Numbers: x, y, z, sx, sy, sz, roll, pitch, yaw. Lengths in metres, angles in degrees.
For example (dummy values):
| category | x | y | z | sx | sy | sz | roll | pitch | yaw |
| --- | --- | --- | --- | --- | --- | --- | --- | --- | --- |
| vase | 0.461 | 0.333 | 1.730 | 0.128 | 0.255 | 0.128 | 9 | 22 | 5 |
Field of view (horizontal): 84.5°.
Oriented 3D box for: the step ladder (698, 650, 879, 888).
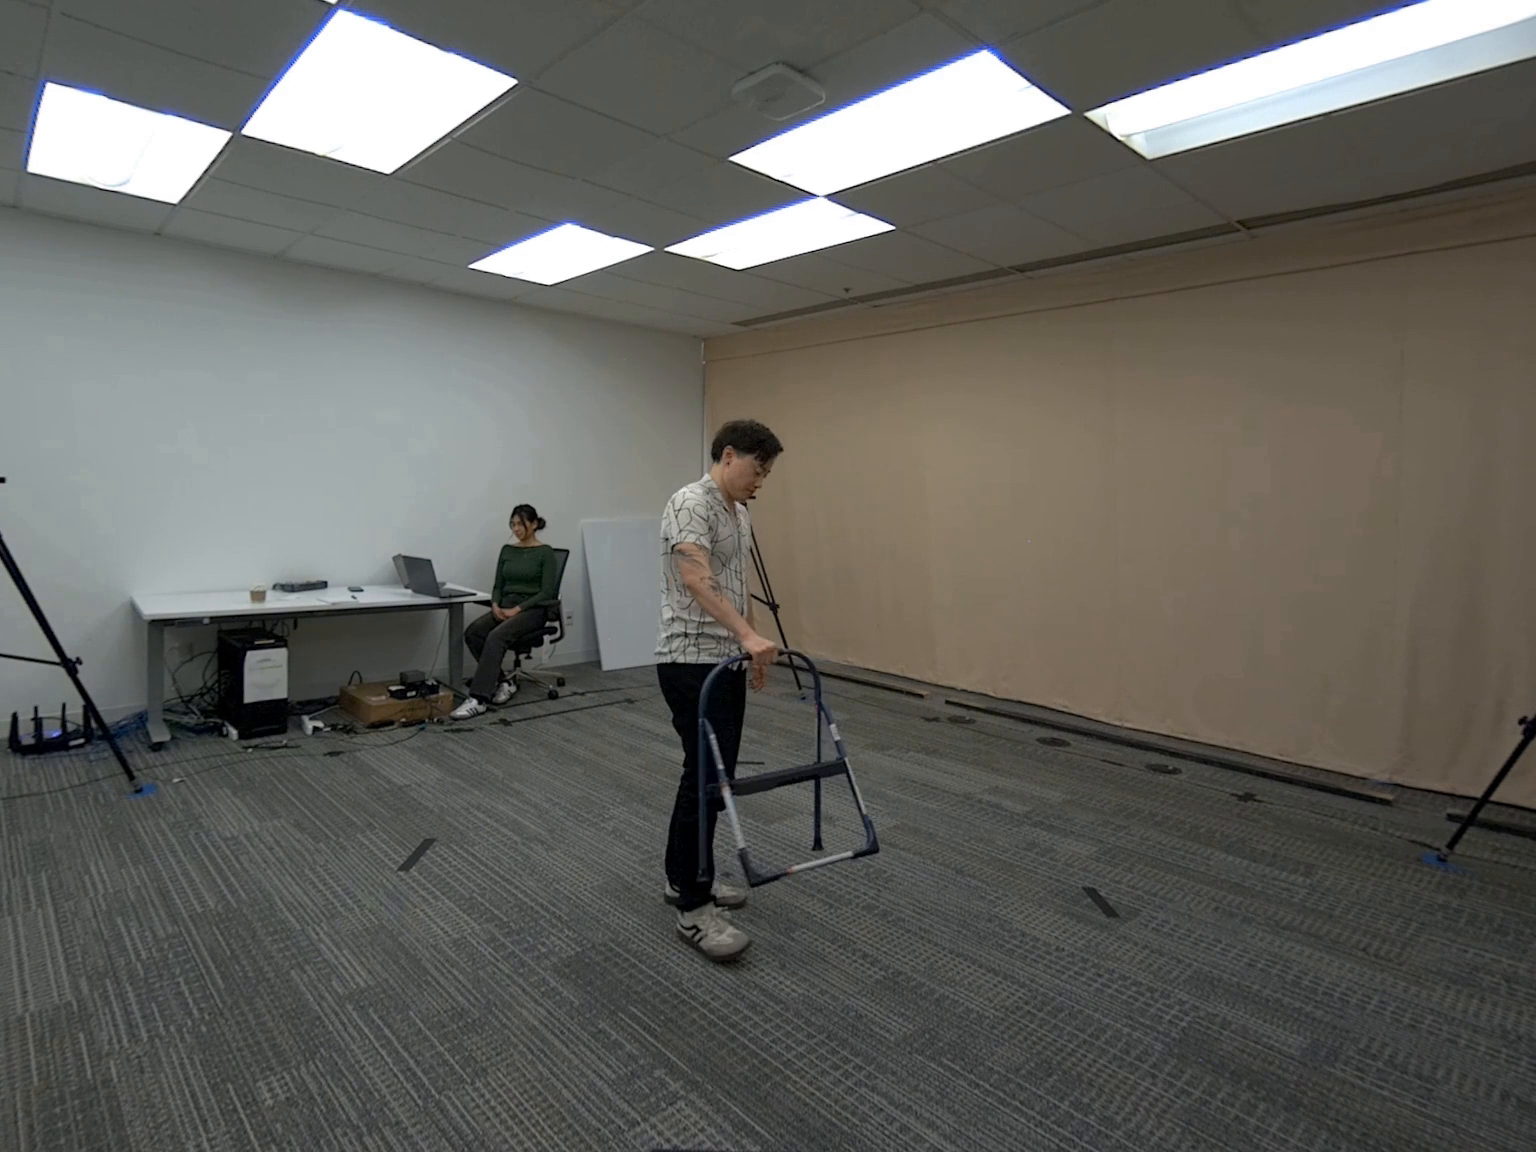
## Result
| category | x | y | z | sx | sy | sz | roll | pitch | yaw |
| --- | --- | --- | --- | --- | --- | --- | --- | --- | --- |
| step ladder | -0.011 | 0.540 | 2.452 | 0.422 | 0.613 | 0.352 | -3 | -14 | -30 |
